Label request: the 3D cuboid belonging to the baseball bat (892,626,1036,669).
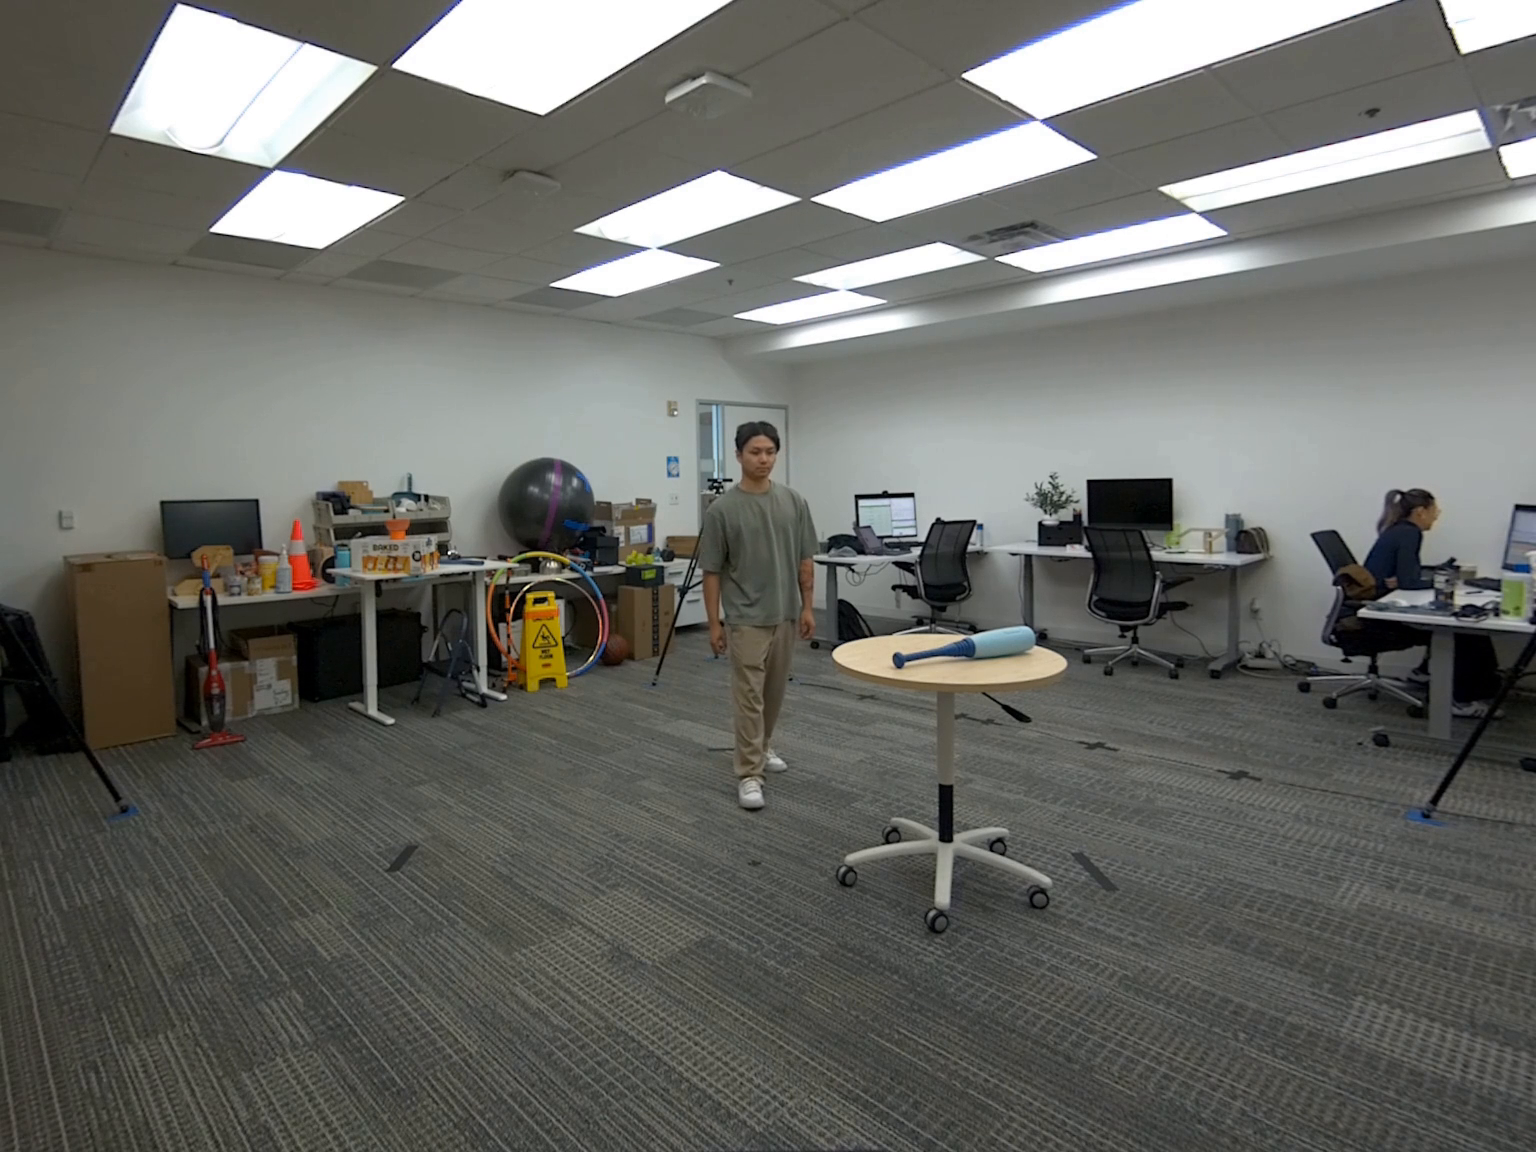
[{"bbox_3d":[0.654,0.244,2.833,0.533,0.088,0.091,-7,7,-23],"label":"baseball bat"}]
